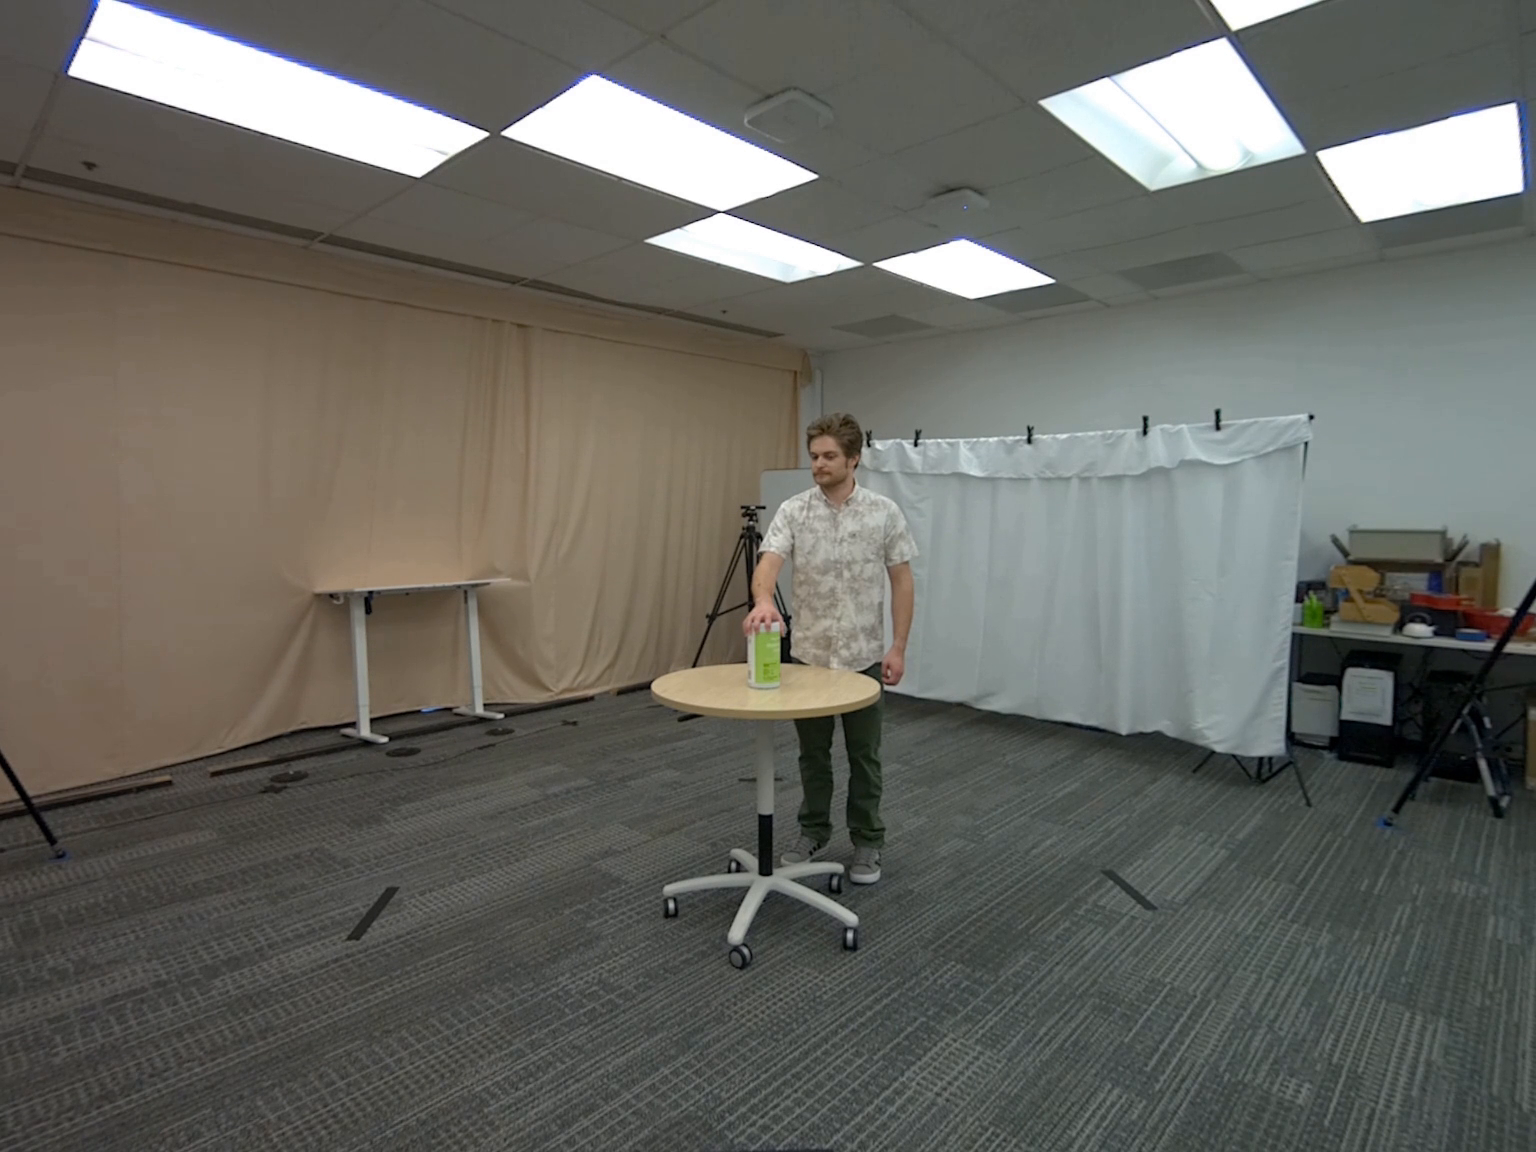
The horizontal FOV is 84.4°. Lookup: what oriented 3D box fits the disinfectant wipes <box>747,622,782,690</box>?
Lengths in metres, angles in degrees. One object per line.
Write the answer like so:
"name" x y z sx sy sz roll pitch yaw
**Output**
"disinfectant wipes" -0.012 0.263 2.793 0.118 0.217 0.118 0 4 -2
